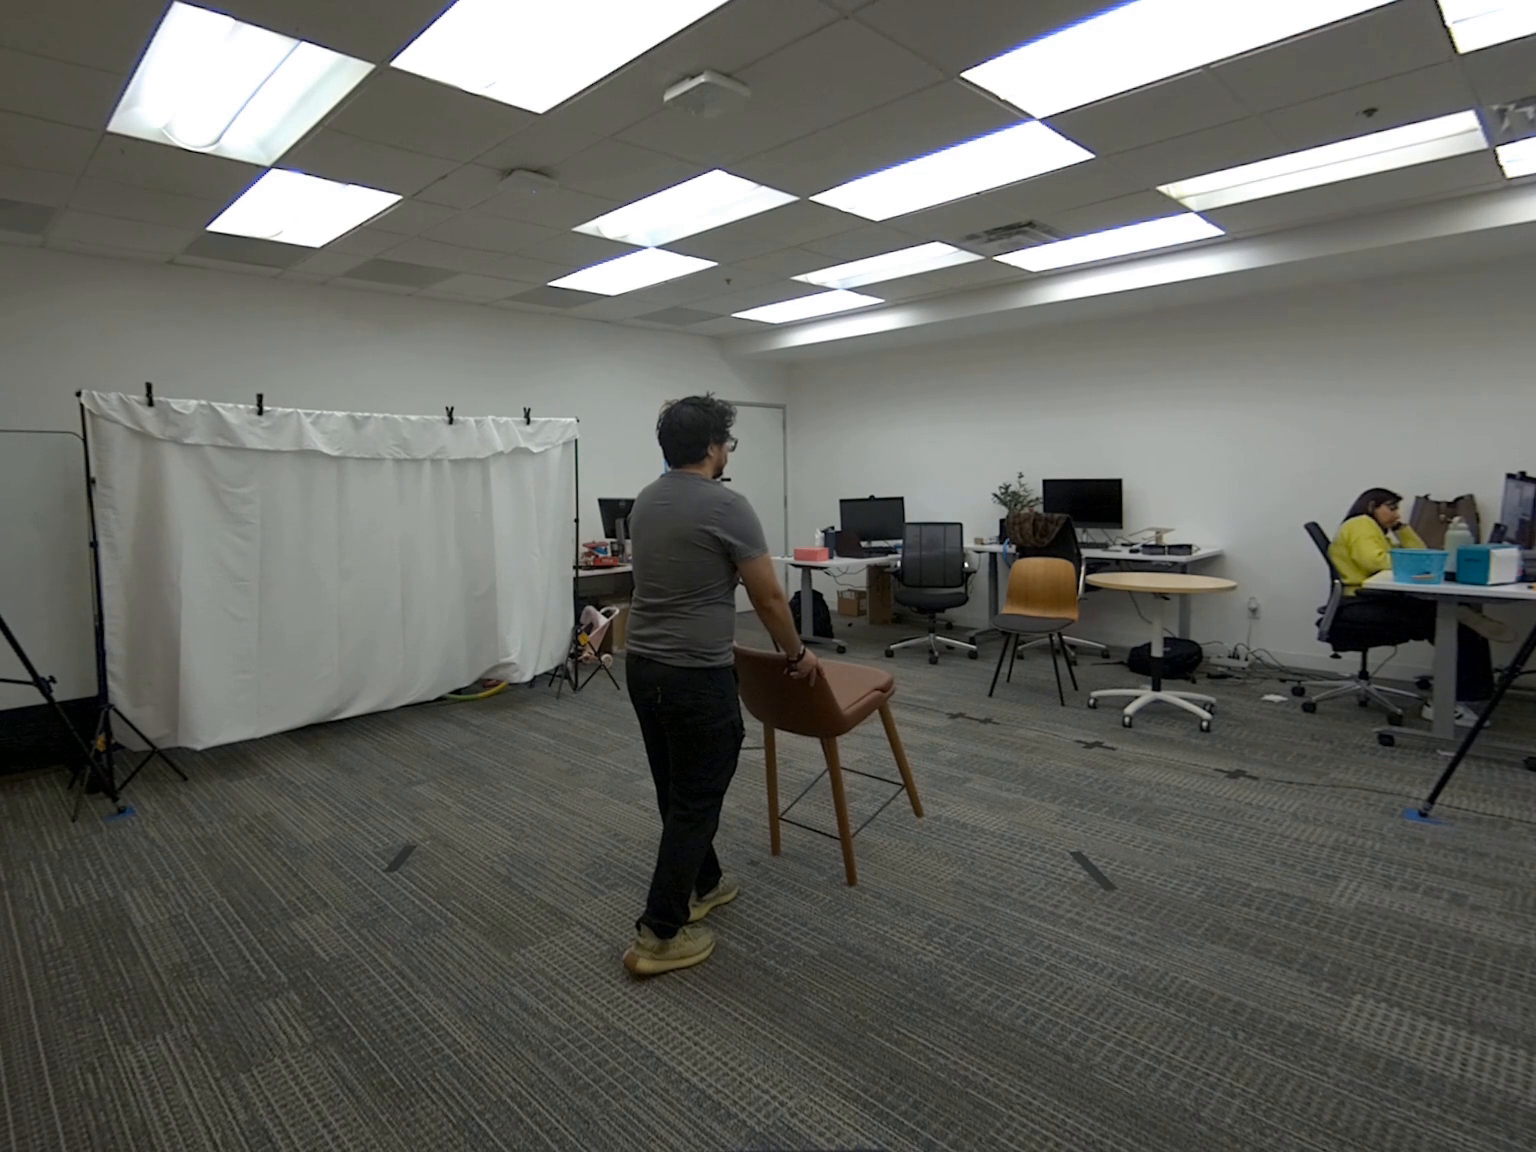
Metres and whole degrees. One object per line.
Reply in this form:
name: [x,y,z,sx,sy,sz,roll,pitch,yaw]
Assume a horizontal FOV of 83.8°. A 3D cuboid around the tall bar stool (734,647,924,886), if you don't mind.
tall bar stool: [0.201,0.562,3.074,0.471,0.873,0.462,4,25,44]
